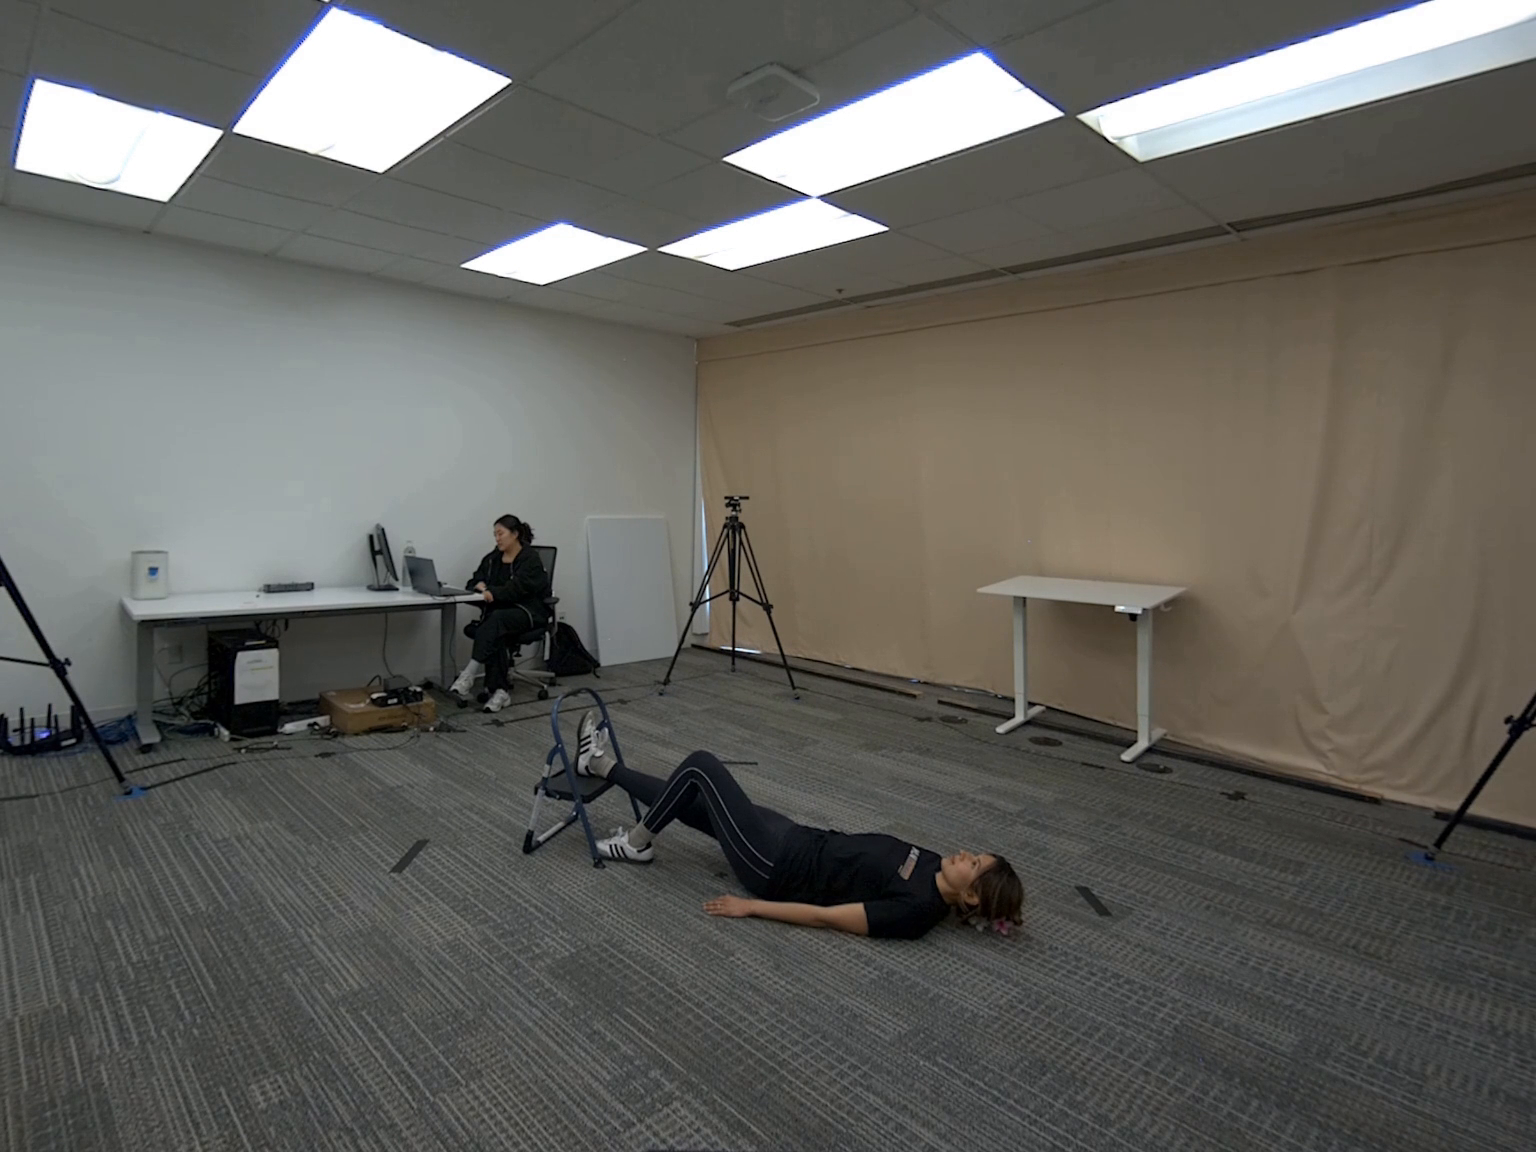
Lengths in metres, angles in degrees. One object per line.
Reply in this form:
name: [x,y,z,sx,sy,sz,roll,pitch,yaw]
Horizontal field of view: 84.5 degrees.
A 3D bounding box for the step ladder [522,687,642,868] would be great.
step ladder: [-0.728,0.765,3.376,0.354,0.604,0.426,2,4,16]
